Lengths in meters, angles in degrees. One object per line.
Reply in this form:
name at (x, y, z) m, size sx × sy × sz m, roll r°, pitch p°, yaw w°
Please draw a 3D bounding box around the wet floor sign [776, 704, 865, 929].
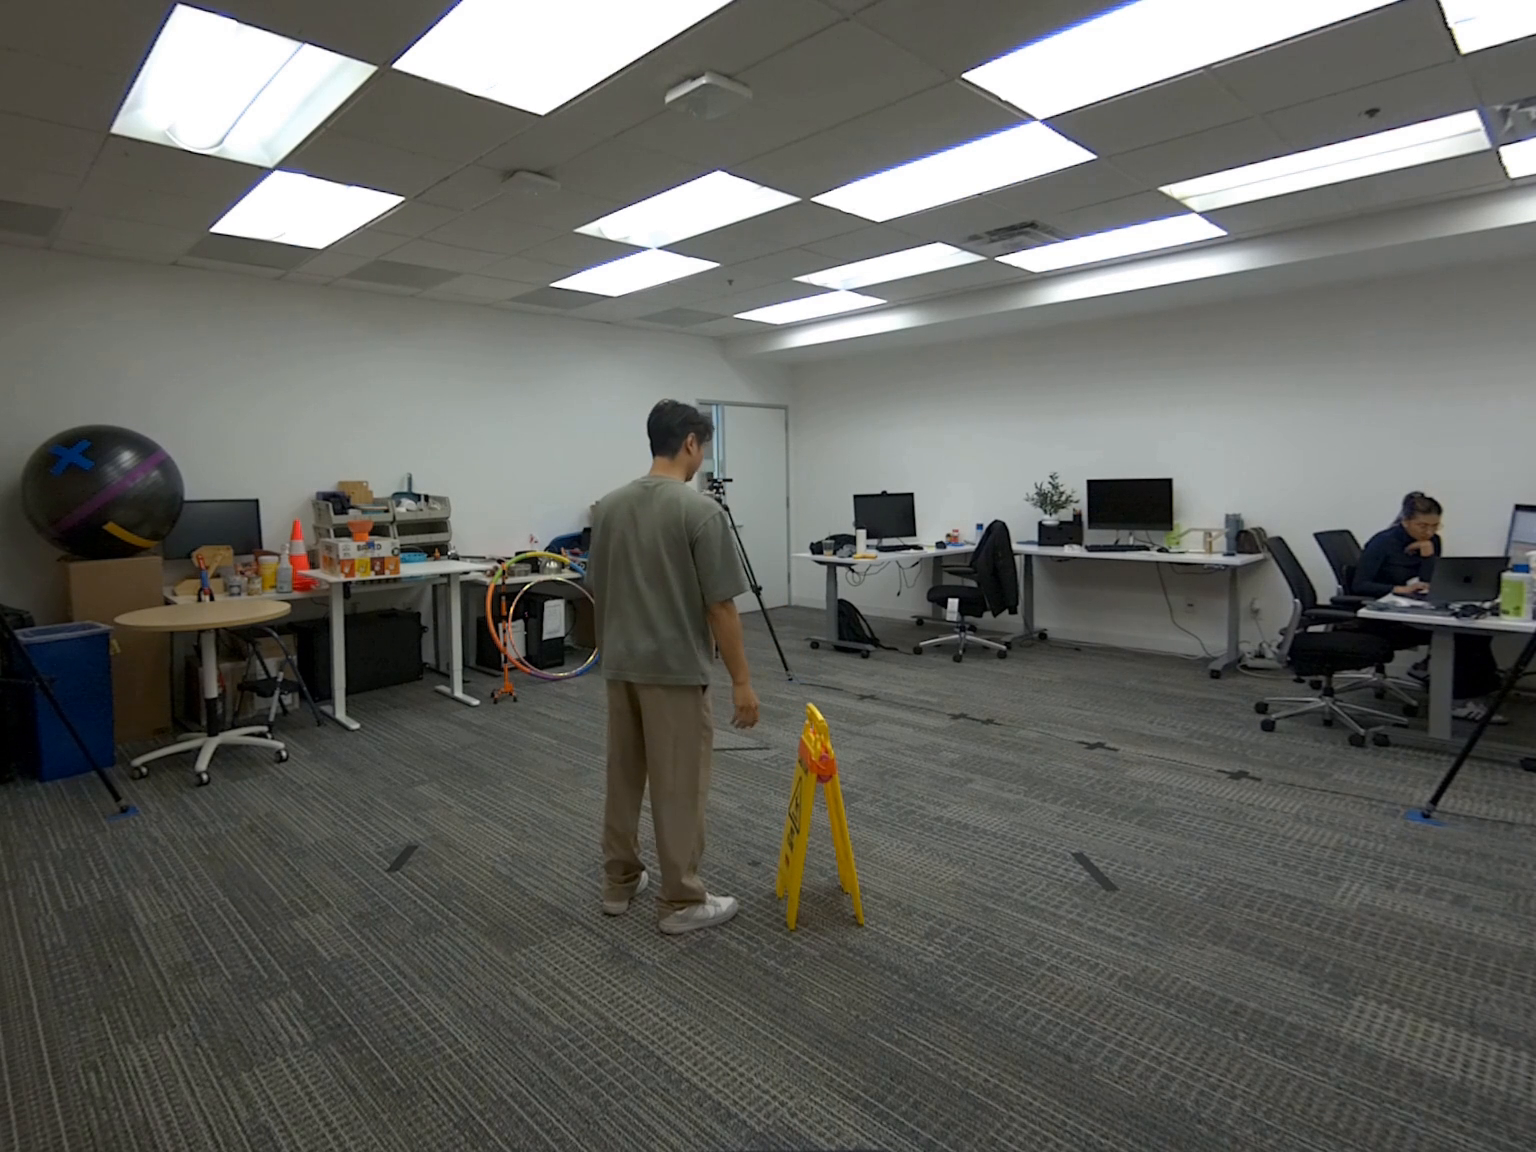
wet floor sign at (0.163, 0.754, 2.754) m, size 0.288 × 0.643 × 0.285 m, roll 0°, pitch 6°, yaw -6°
